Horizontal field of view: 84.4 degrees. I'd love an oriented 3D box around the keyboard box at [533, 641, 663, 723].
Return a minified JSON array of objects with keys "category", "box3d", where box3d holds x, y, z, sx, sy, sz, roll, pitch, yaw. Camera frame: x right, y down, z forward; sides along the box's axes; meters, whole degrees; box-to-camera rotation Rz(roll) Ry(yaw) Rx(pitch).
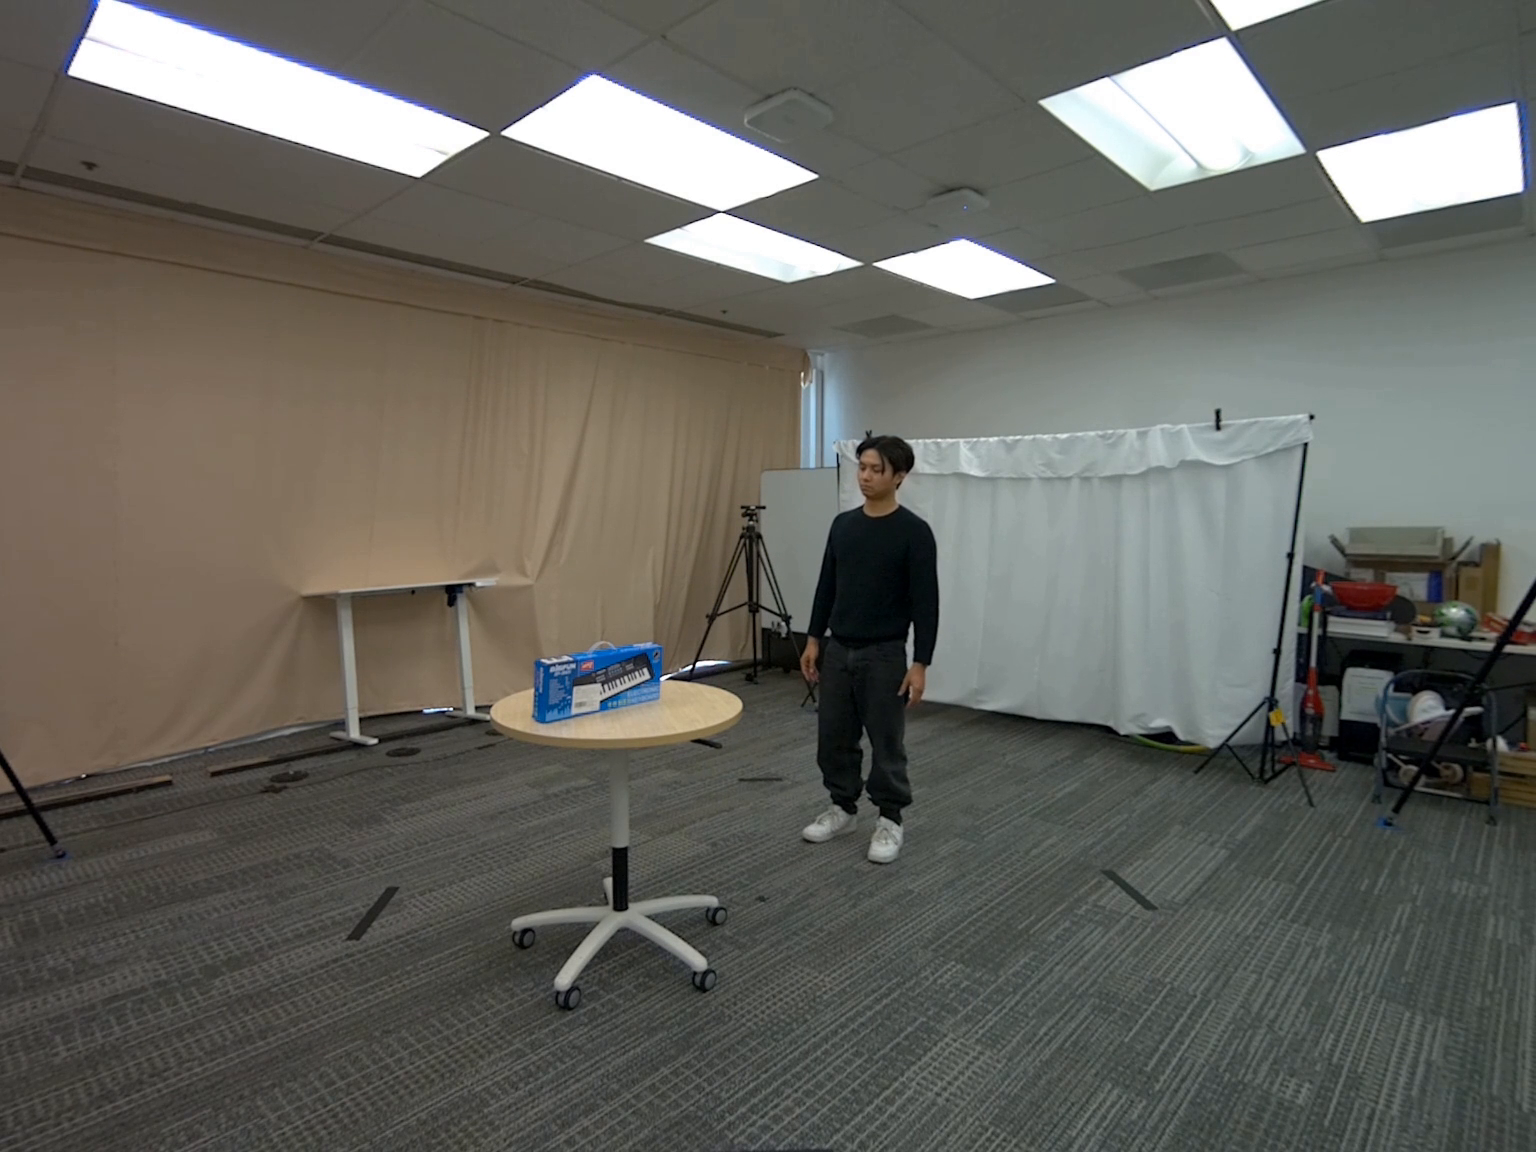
[{"category":"keyboard box","box3d":[-0.500,0.316,2.521,0.061,0.175,0.423,9,9,42]}]
